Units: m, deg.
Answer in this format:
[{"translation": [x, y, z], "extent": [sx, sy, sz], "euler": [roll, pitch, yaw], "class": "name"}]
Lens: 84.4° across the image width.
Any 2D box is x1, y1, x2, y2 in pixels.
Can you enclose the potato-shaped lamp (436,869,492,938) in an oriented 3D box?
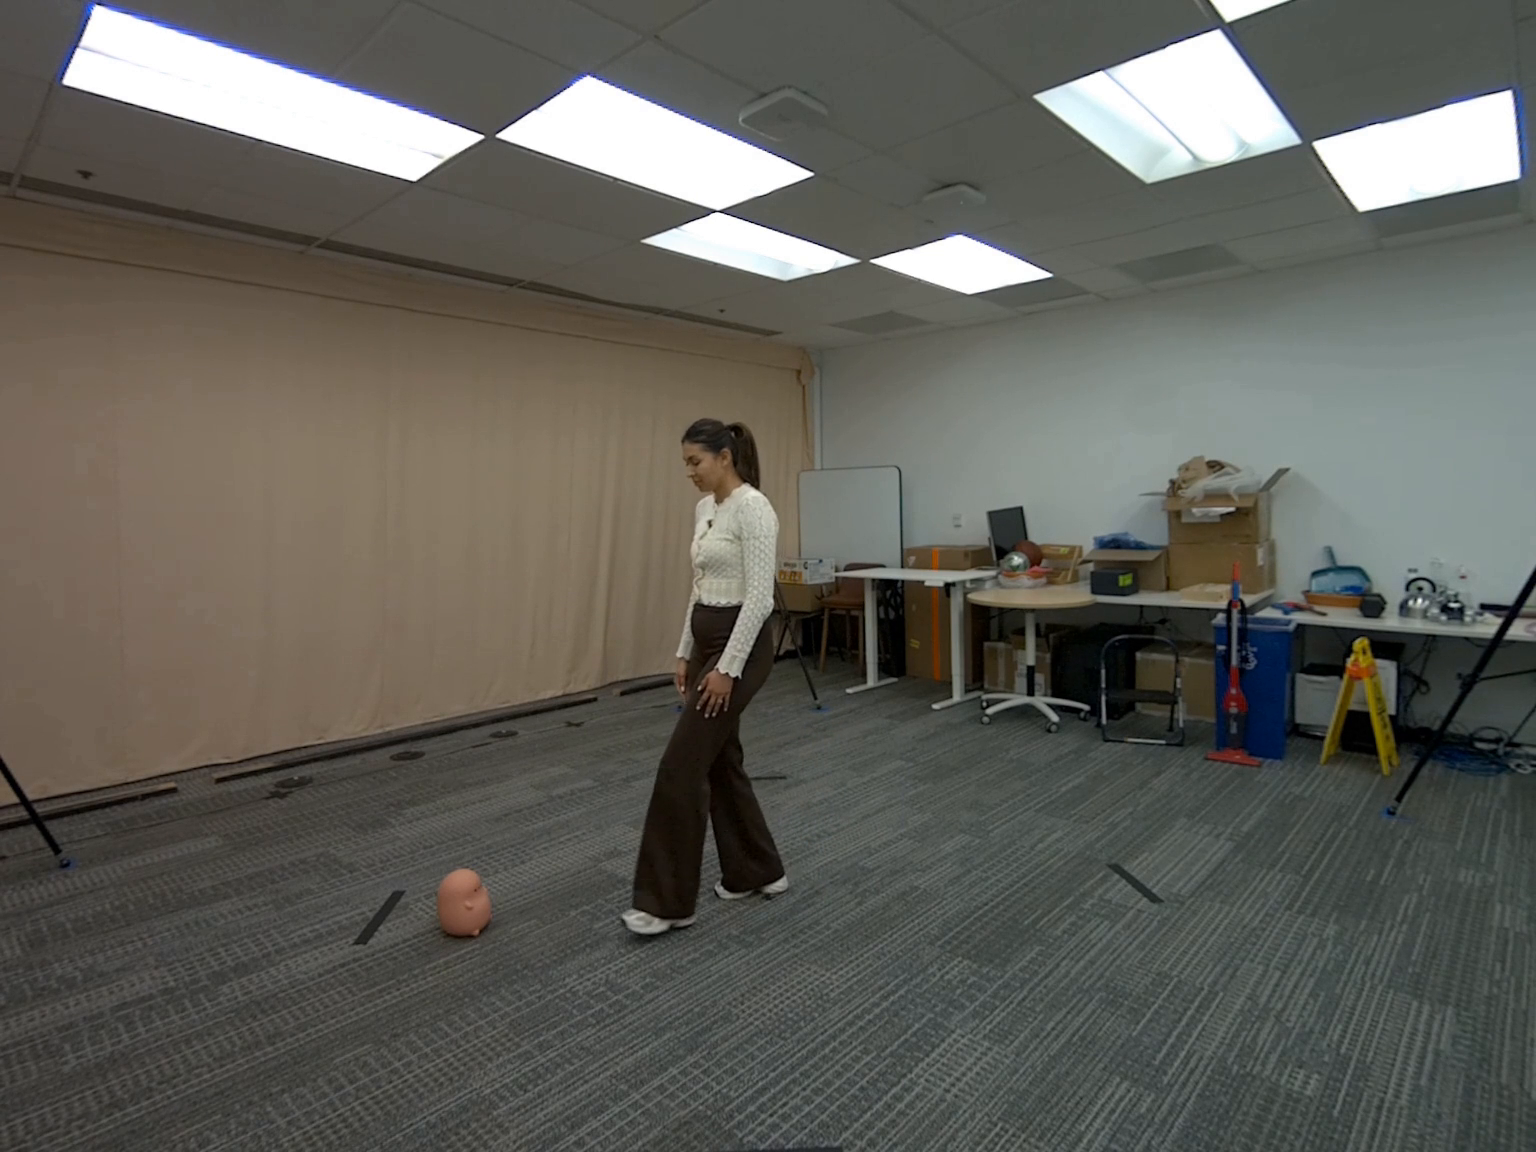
[{"translation": [-1.011, 1.078, 2.802], "extent": [0.173, 0.198, 0.163], "euler": [-4, 2, 10], "class": "potato-shaped lamp"}]
